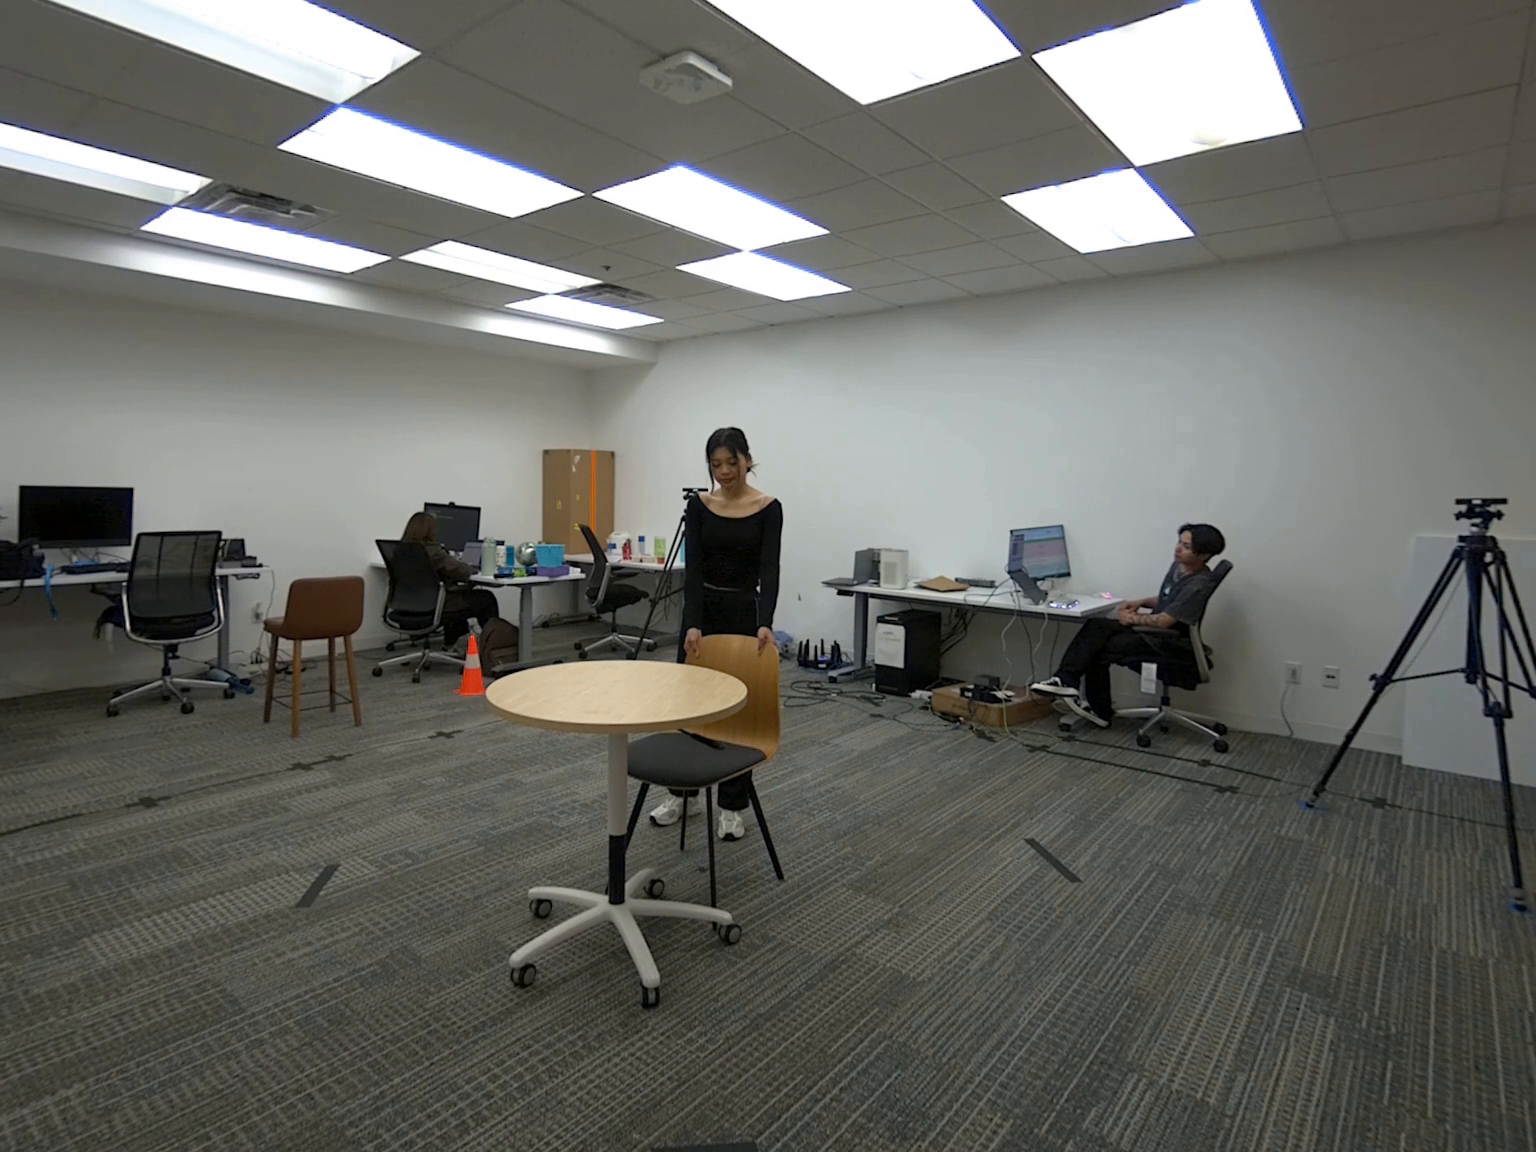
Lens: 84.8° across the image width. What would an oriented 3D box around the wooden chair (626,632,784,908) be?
[{"bbox_3d":[-0.247,0.653,2.948,0.493,0.878,0.507,3,-1,32],"label":"wooden chair"}]
